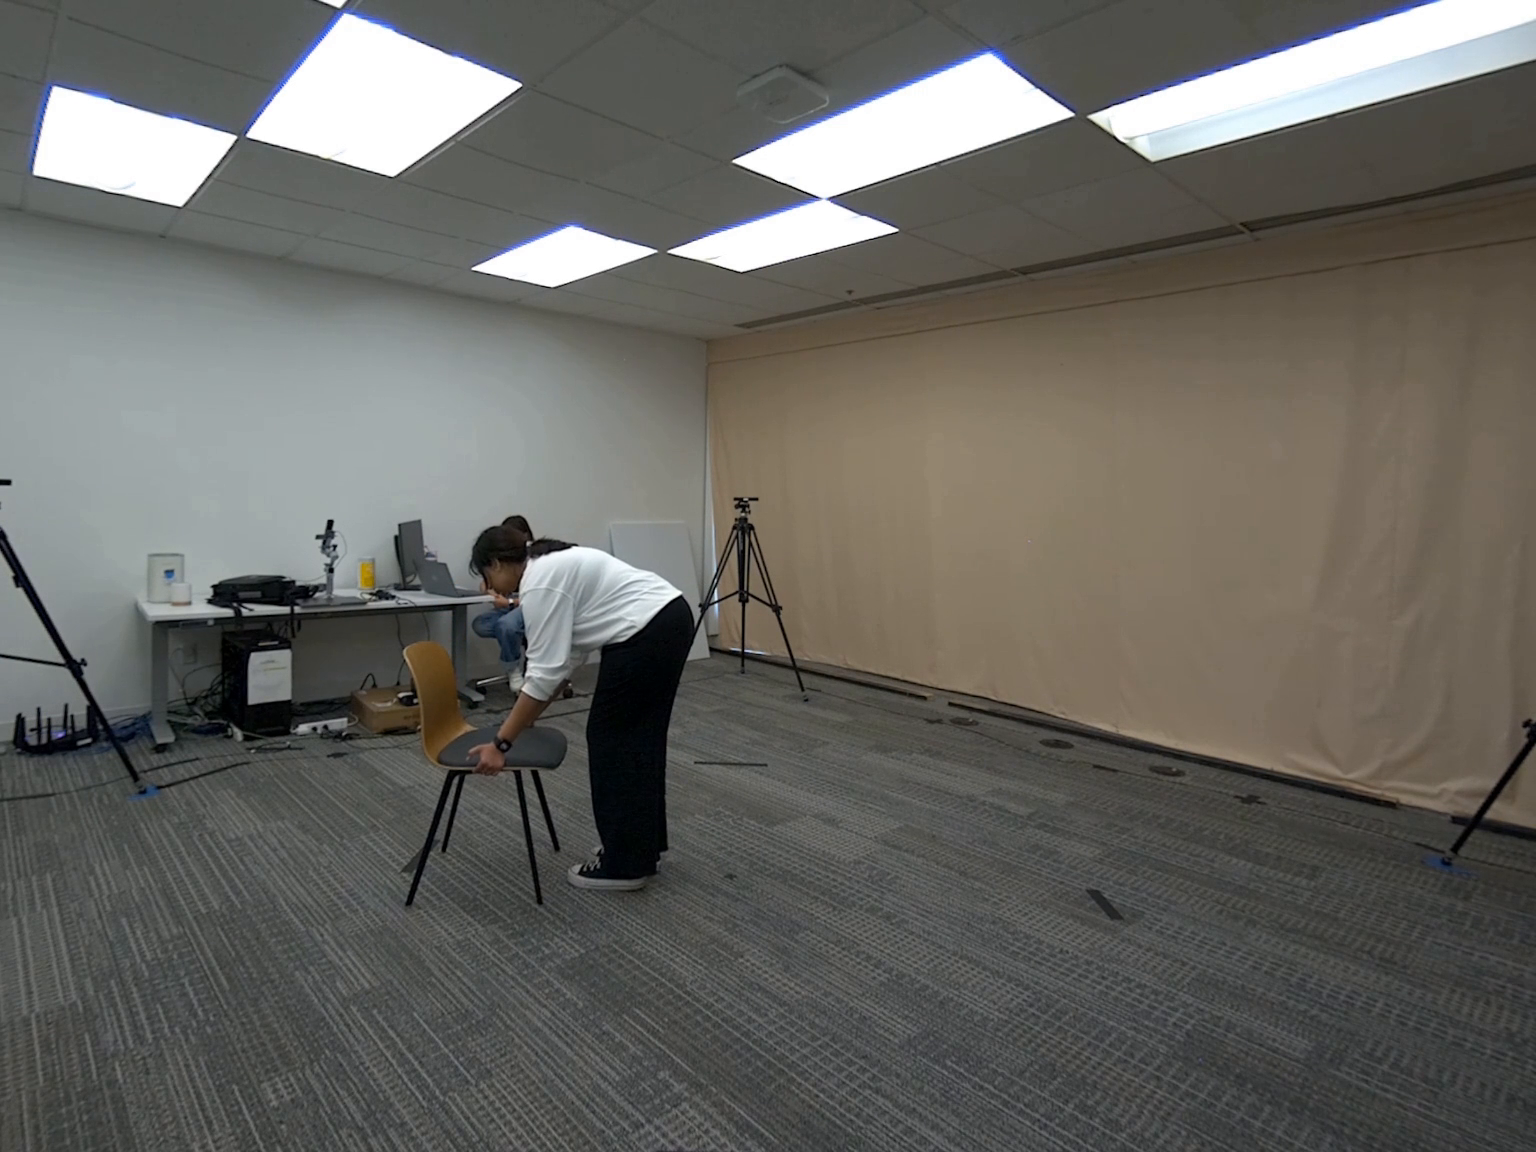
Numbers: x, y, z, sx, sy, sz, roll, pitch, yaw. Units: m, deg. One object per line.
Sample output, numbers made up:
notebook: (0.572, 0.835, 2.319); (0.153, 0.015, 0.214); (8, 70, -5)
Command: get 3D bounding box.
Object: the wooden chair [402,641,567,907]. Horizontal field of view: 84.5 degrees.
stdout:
wooden chair: (-0.993, 0.665, 3.027); (0.521, 0.875, 0.481); (-3, 3, -5)
